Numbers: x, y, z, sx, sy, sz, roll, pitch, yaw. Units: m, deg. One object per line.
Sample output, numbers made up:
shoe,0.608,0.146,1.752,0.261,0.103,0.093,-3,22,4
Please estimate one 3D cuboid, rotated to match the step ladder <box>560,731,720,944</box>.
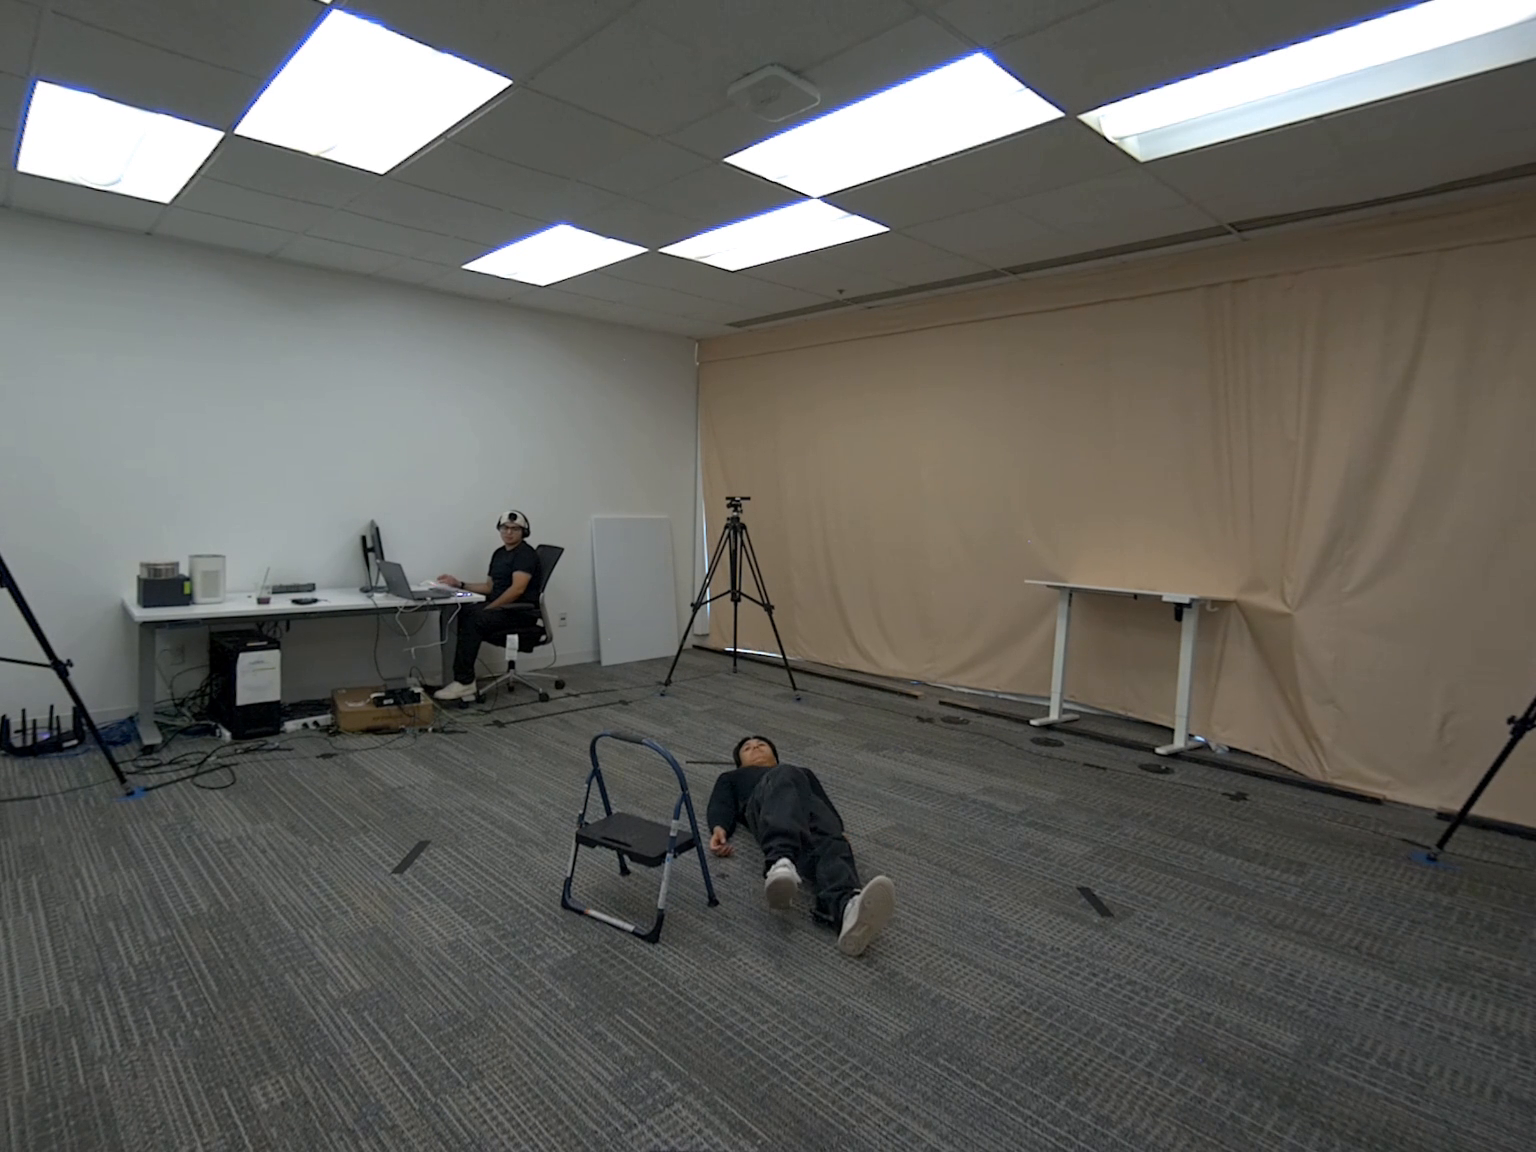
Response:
step ladder,-0.436,0.819,2.848,0.440,0.605,0.342,3,4,33
